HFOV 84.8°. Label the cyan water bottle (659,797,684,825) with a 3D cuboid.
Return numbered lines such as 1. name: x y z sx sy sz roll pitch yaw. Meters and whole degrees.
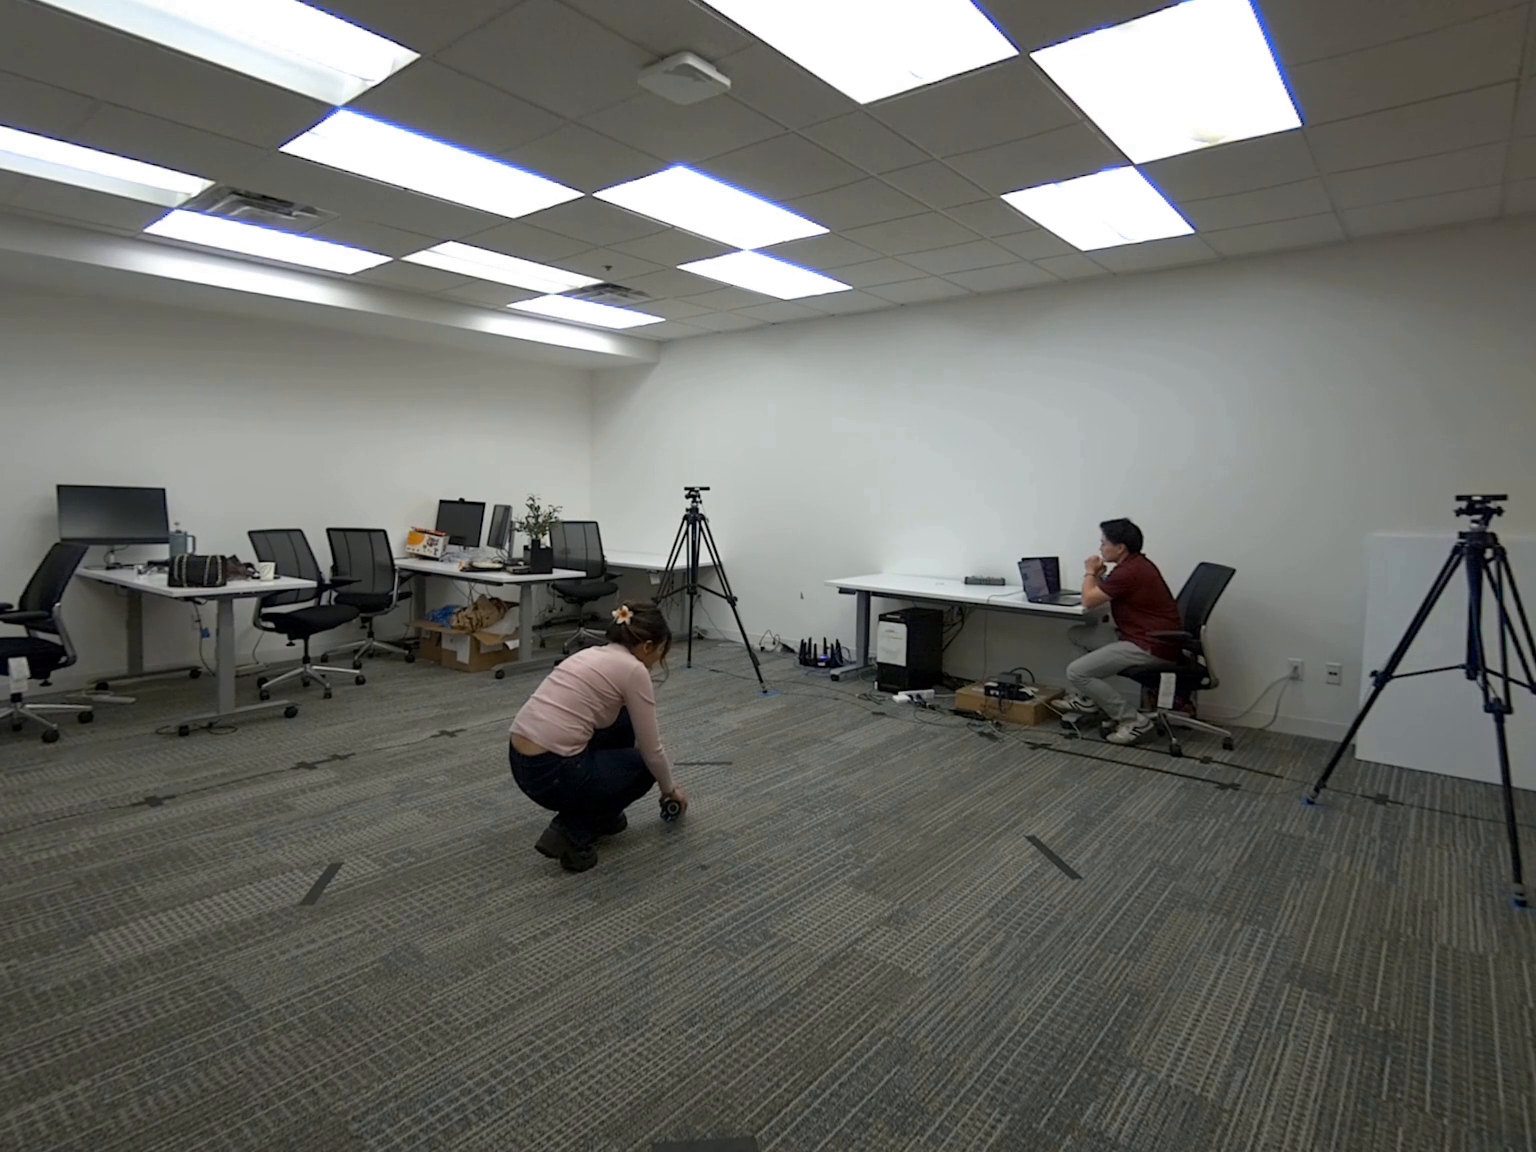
1. cyan water bottle: -0.402 0.955 3.508 0.092 0.092 0.282 1 -2 -2
